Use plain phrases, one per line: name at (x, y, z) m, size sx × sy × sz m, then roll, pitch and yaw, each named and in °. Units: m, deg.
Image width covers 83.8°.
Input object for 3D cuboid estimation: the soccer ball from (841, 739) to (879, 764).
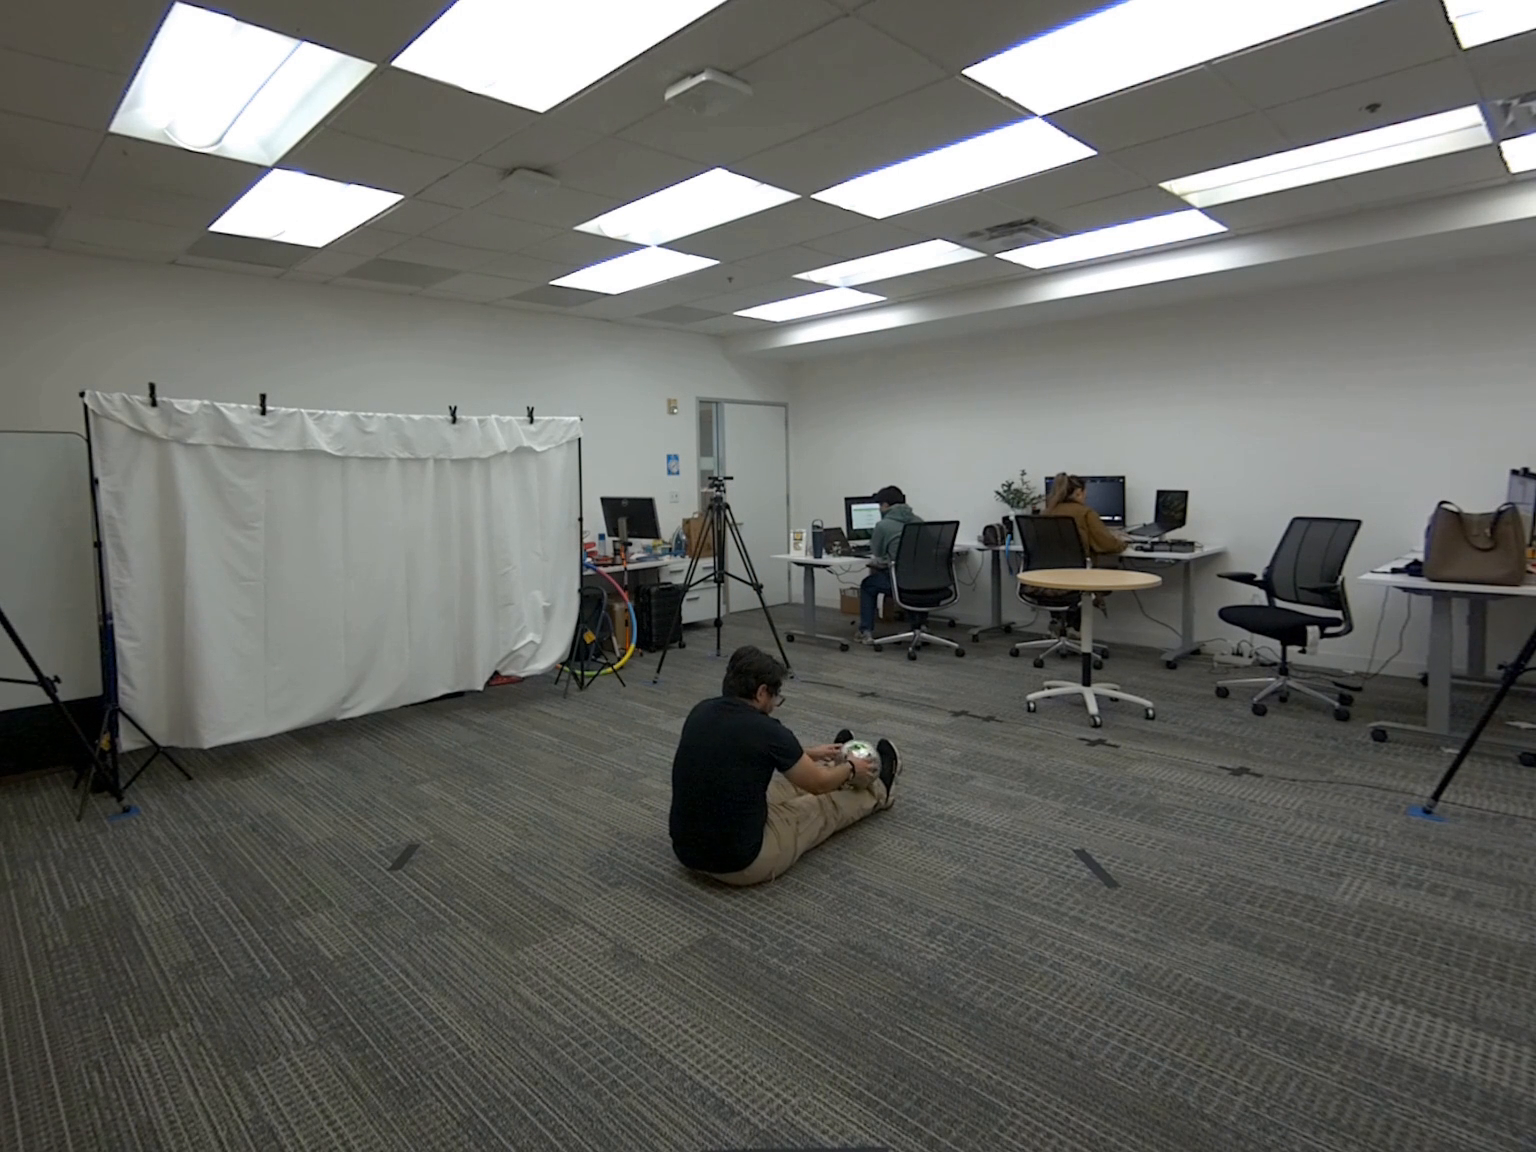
soccer ball at (0.370, 0.764, 3.408) m, size 0.187 × 0.187 × 0.188 m, roll -1°, pitch 4°, yaw -2°
